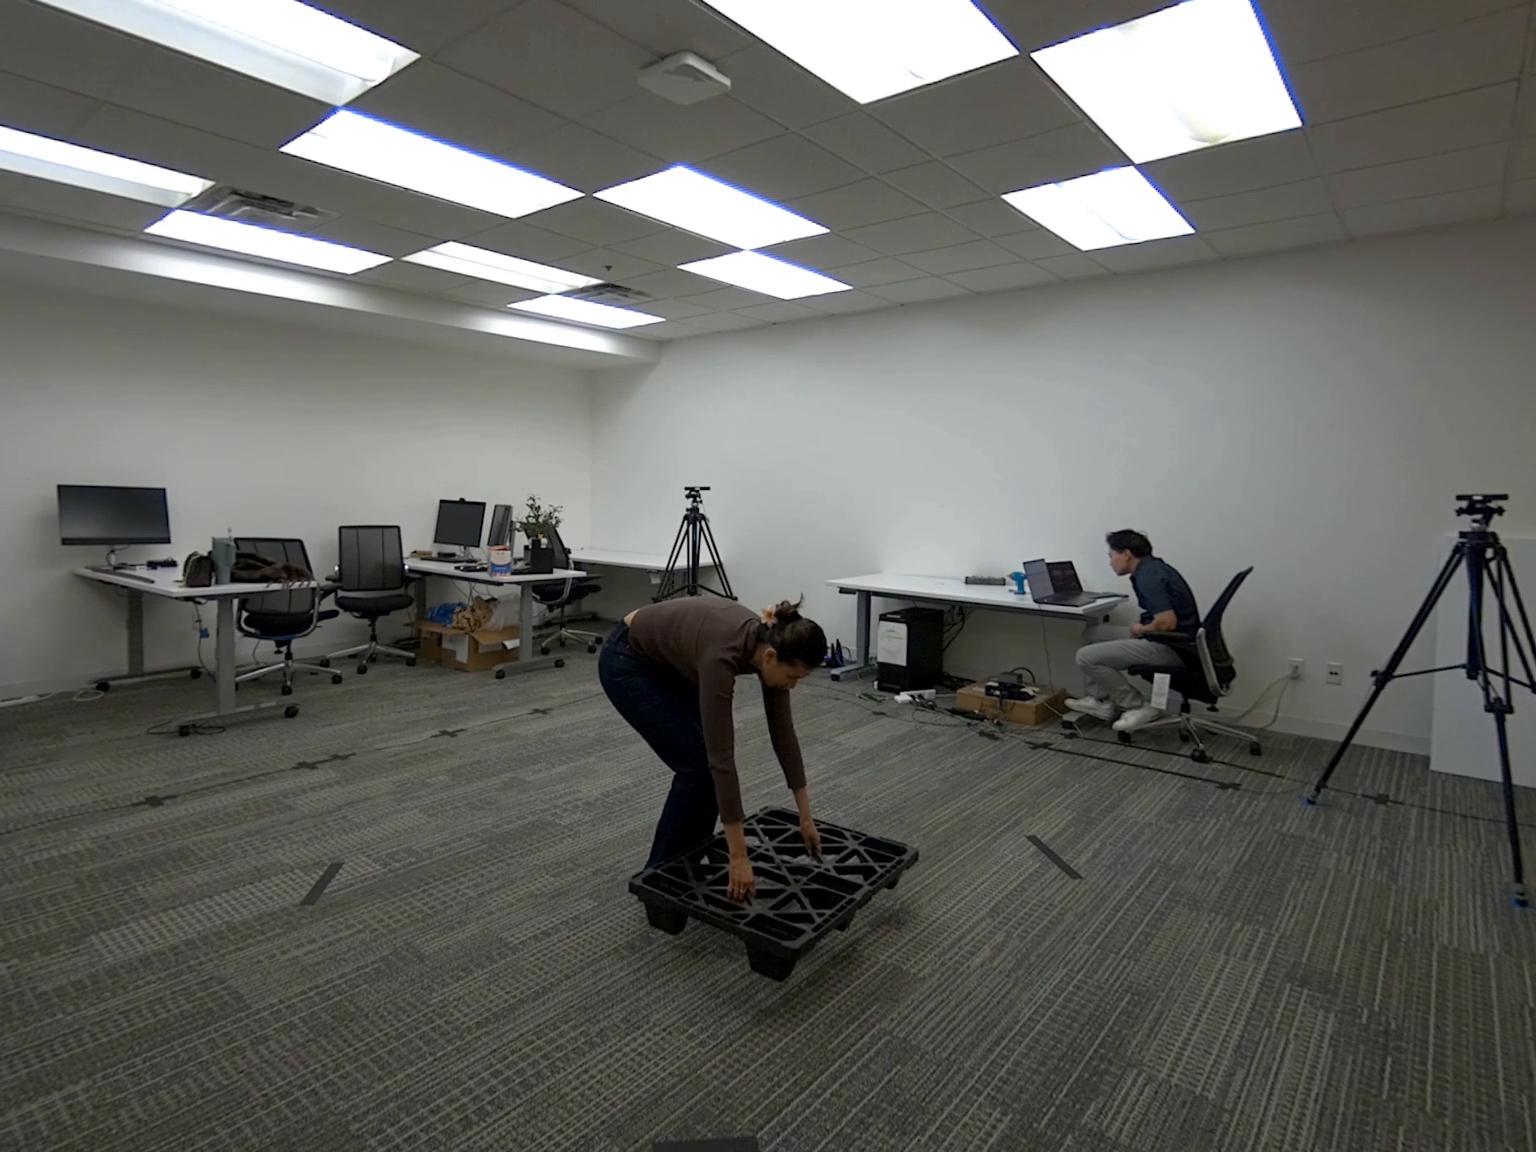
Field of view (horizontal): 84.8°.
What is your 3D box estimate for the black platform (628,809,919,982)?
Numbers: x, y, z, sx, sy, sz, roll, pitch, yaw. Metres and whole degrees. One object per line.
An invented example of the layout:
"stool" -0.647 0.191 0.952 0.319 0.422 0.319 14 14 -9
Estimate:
"black platform" 0.027 0.974 2.694 0.625 0.143 0.783 5 7 35
